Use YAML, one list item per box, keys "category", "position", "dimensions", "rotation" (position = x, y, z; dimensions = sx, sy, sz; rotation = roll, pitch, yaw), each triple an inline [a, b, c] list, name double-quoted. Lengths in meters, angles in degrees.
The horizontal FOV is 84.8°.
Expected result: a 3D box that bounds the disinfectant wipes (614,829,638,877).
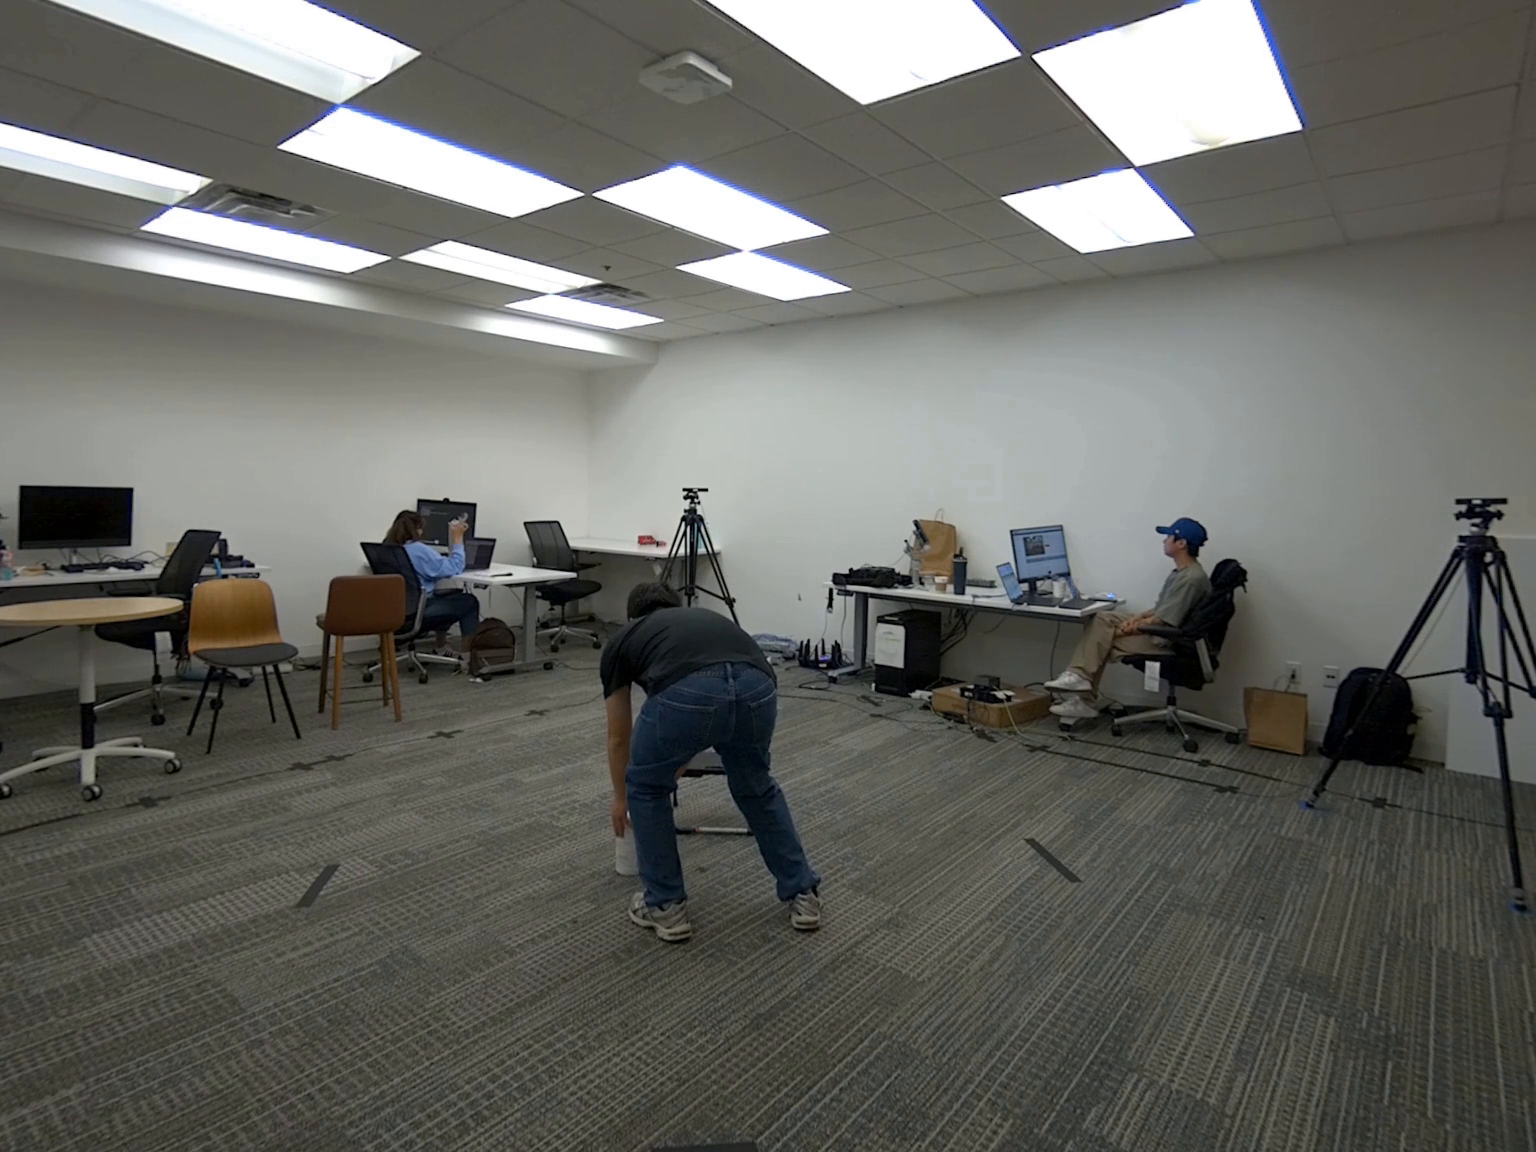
- category: "disinfectant wipes"
  position: [-0.506, 0.962, 3.091]
  dimensions: [0.118, 0.217, 0.118]
  rotation: [3, 1, -2]
